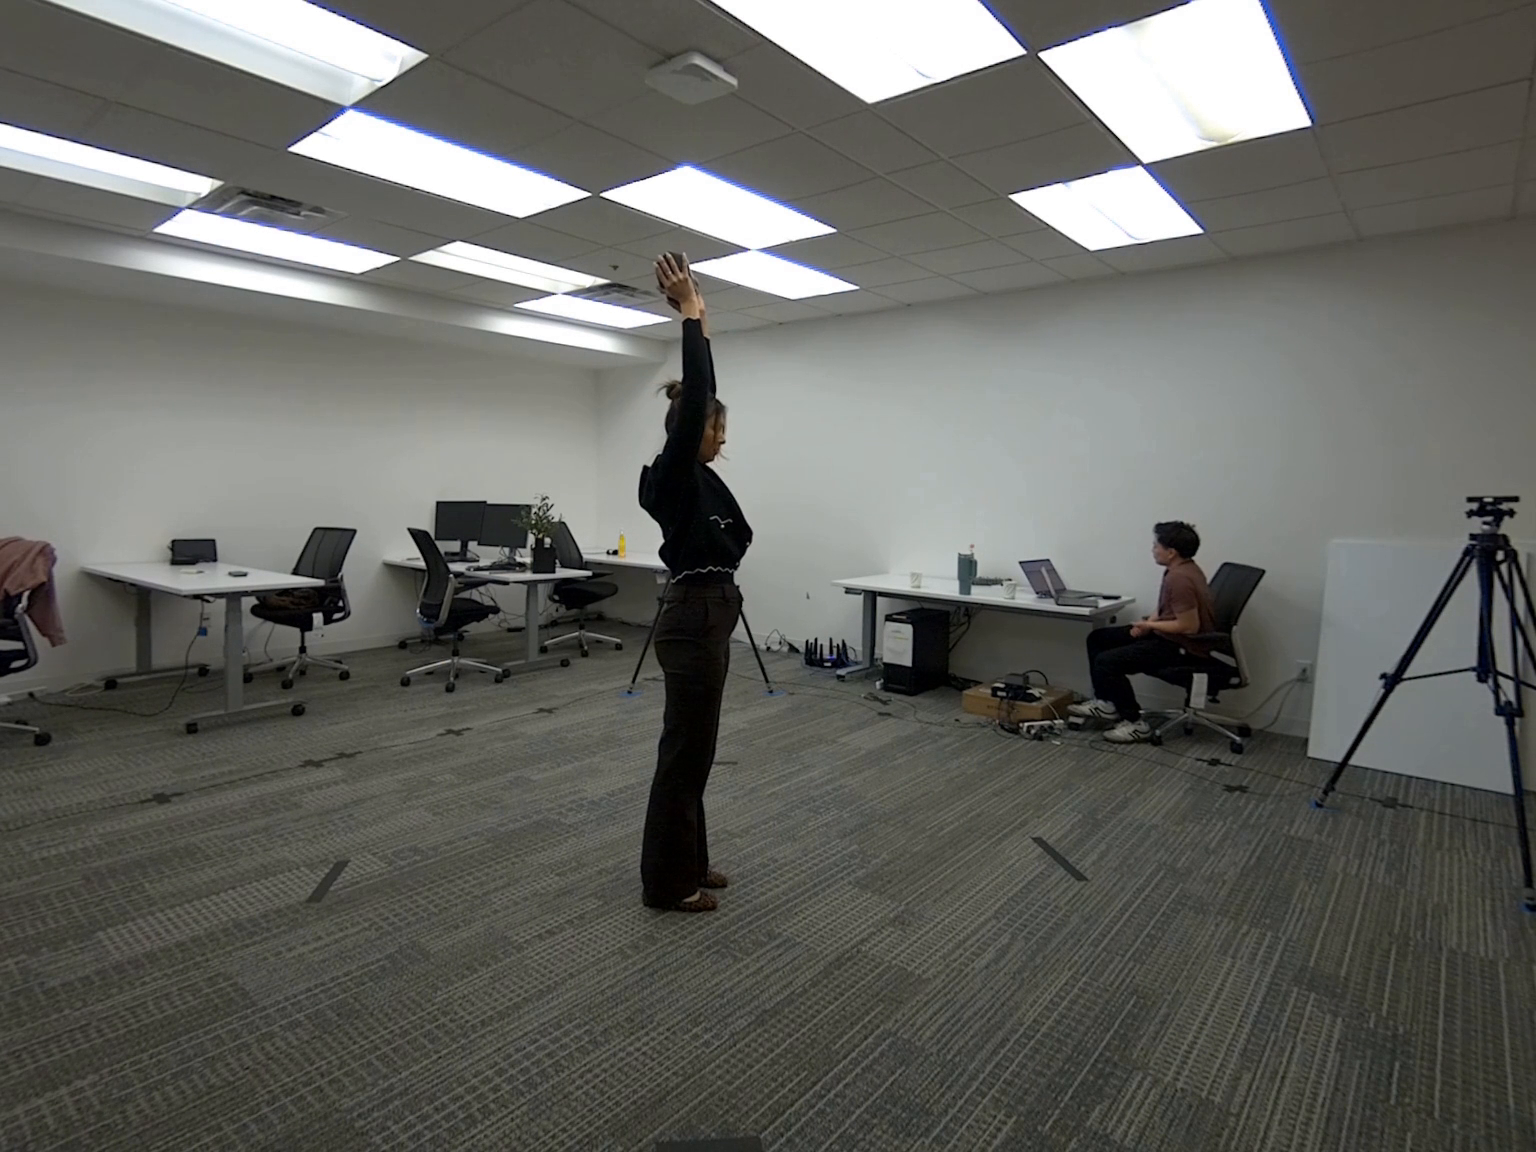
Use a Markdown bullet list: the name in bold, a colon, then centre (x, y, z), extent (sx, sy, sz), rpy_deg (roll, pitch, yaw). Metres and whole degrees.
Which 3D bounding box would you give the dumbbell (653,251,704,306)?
- **dumbbell**: centre (-0.295, -0.976, 2.804), extent (0.122, 0.108, 0.296), rpy_deg (18, 7, -4)
